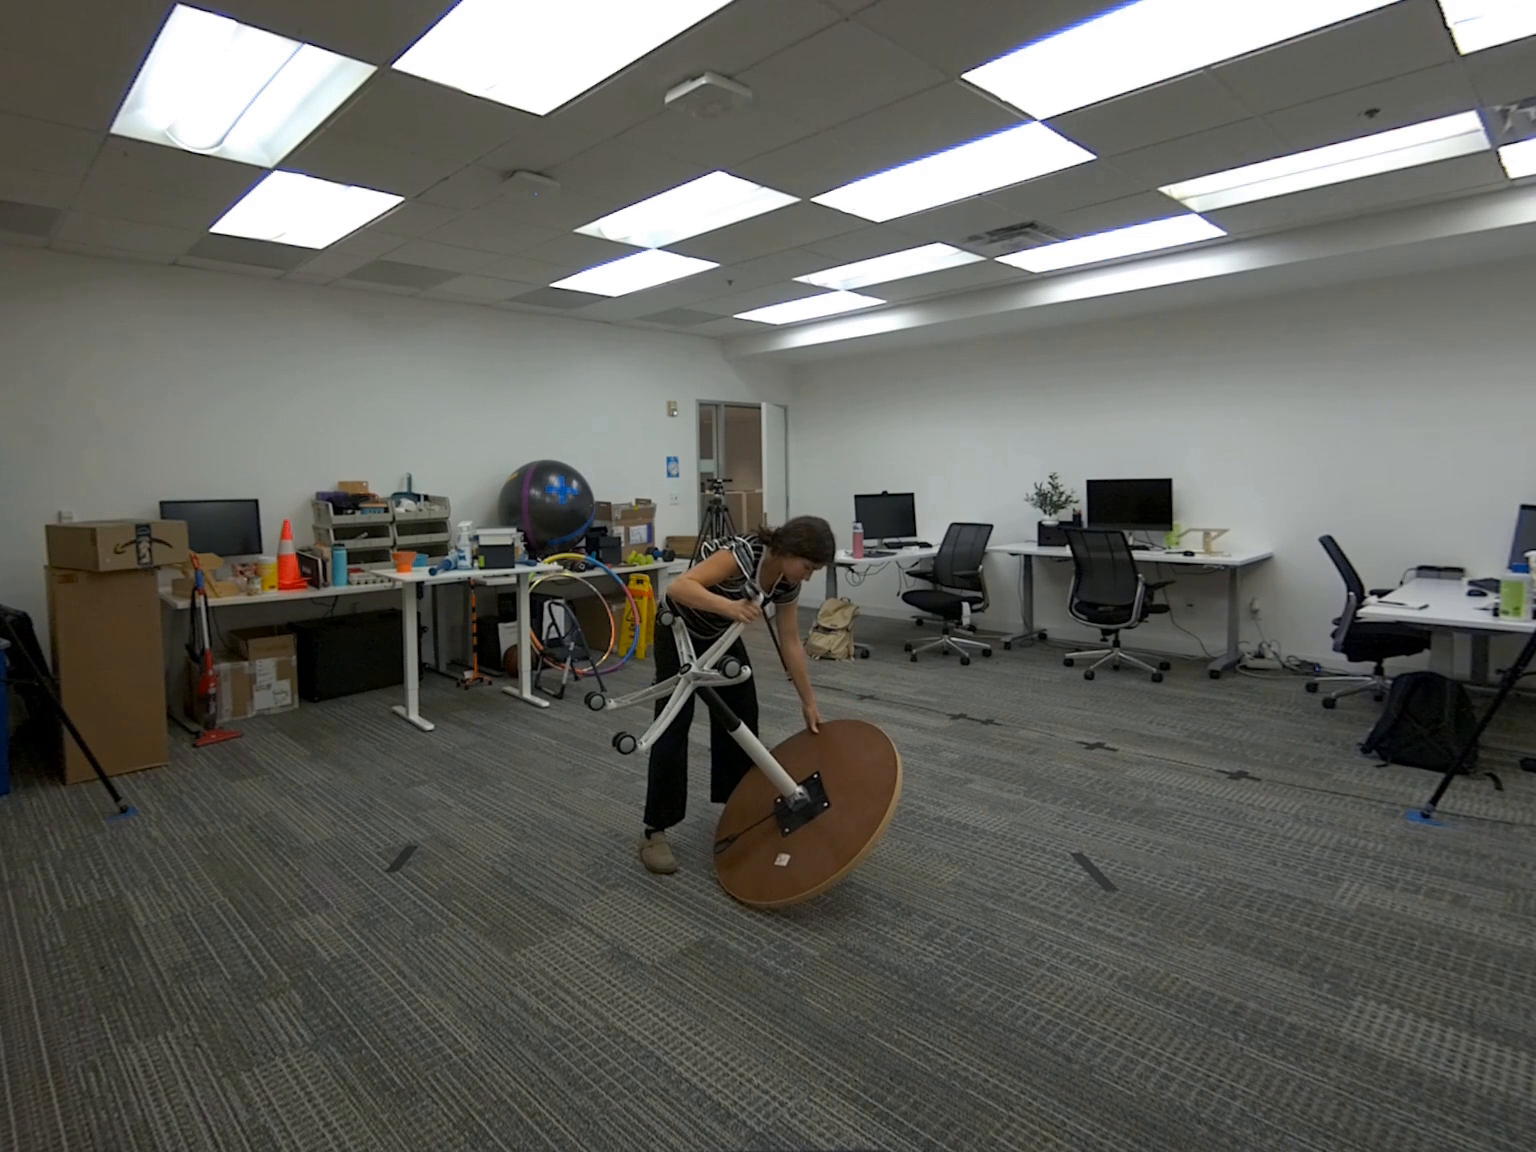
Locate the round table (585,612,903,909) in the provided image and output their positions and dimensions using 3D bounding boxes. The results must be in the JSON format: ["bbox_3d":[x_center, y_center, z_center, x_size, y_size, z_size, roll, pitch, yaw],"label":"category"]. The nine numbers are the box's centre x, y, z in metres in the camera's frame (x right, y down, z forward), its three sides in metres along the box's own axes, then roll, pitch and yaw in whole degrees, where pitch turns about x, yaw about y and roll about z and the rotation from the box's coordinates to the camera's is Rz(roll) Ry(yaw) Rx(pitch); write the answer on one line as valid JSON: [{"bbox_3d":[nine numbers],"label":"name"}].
[{"bbox_3d":[-0.082,0.527,2.864,0.767,0.773,0.781,-32,23,13],"label":"round table"}]
